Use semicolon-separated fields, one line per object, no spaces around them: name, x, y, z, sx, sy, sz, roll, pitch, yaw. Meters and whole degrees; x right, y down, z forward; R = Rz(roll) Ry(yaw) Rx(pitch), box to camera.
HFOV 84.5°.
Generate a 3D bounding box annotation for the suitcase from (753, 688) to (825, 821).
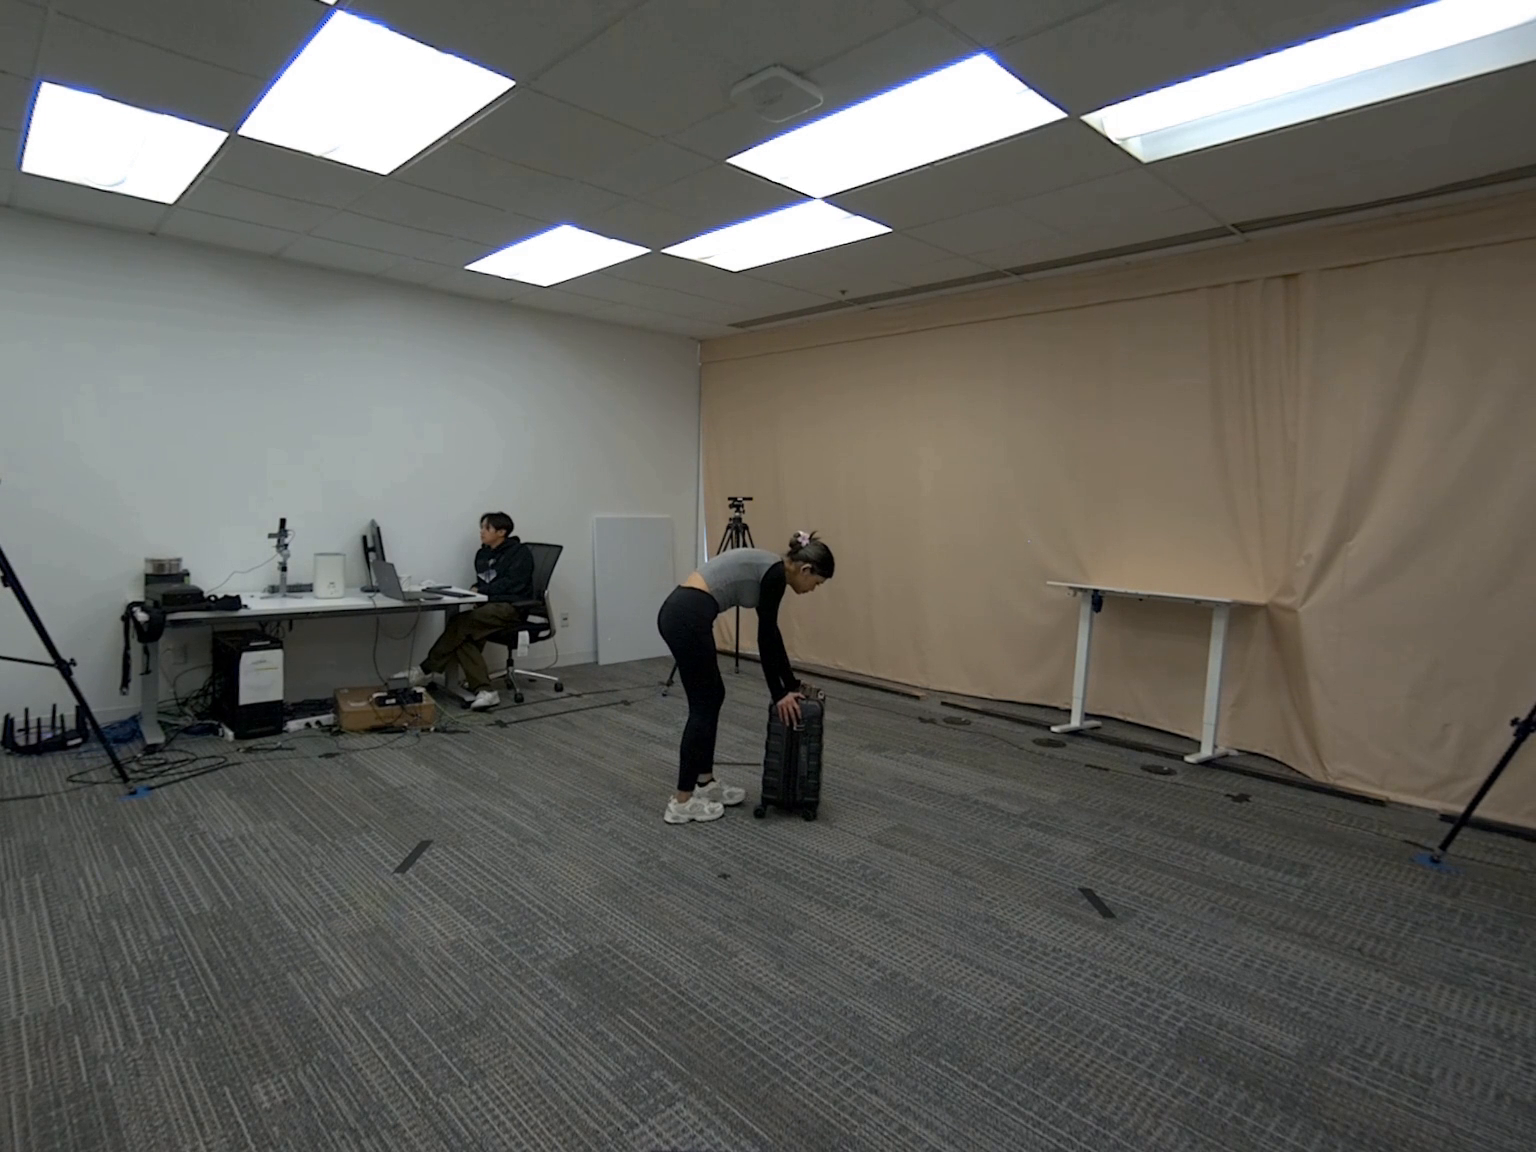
suitcase;0.112;0.779;3.814;0.249;0.548;0.374;5;4;4
